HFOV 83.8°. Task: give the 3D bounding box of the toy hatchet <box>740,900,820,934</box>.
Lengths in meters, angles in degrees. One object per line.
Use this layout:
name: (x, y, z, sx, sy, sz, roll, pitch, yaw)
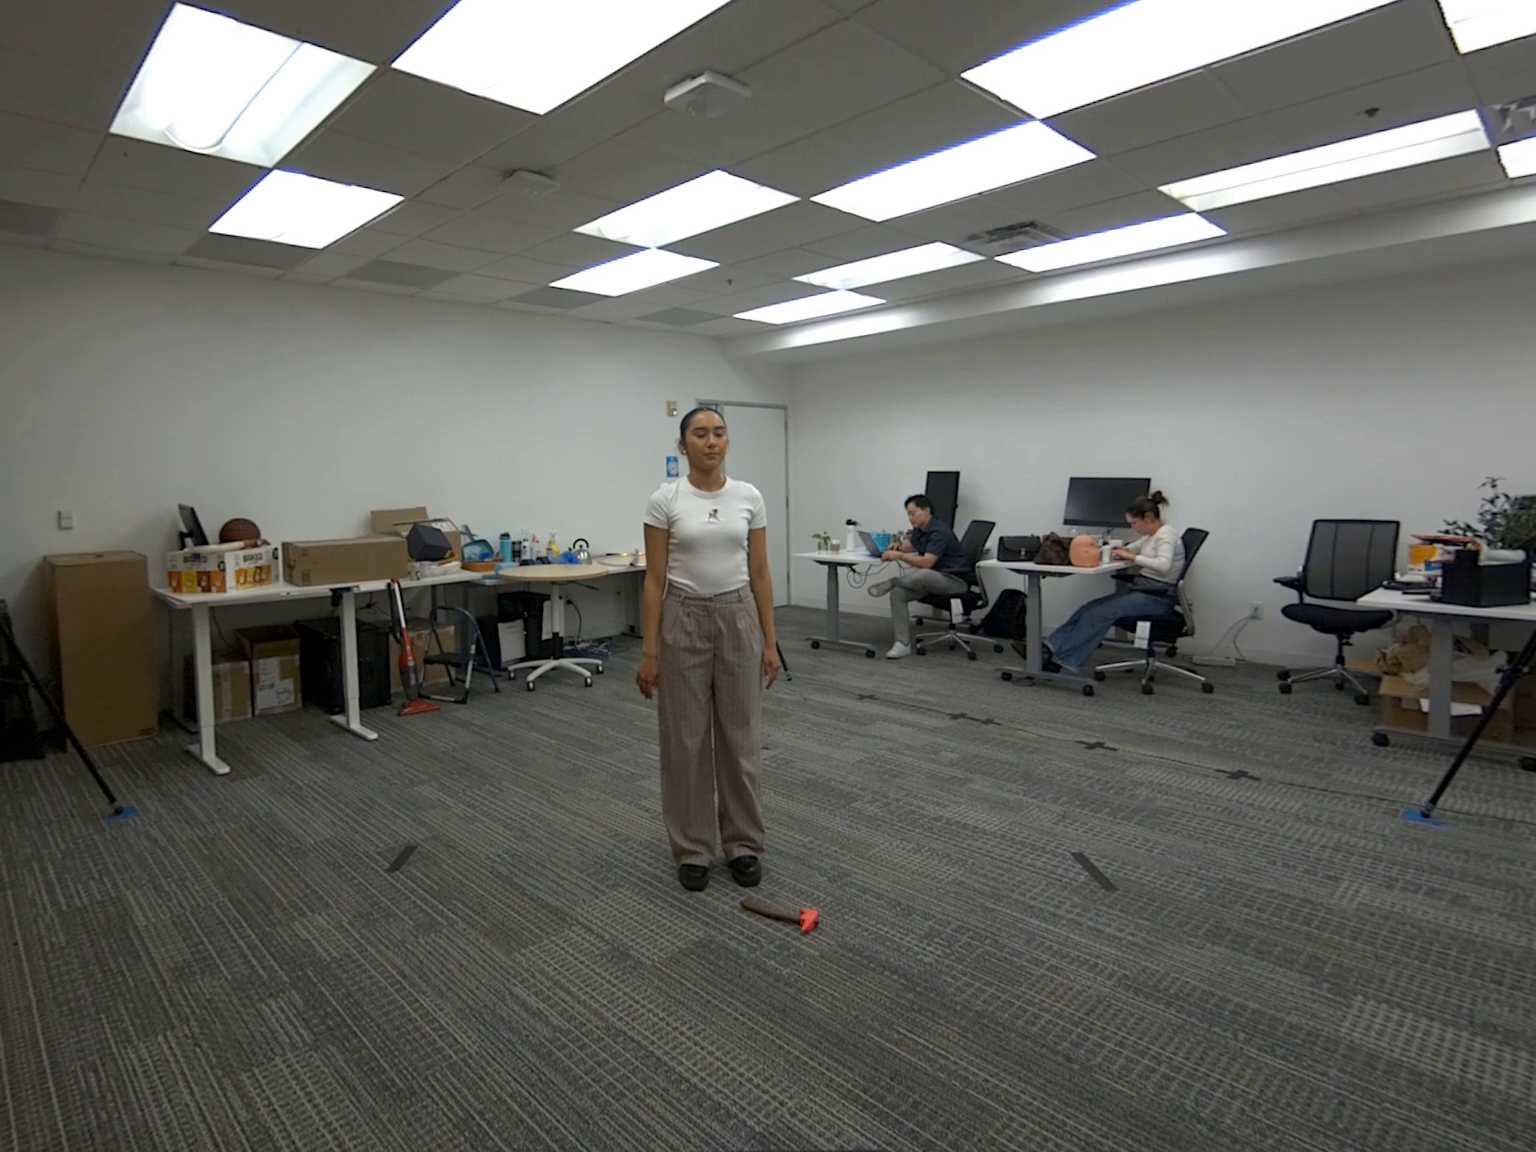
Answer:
toy hatchet: (0.058, 1.076, 2.737, 0.278, 0.029, 0.128, 3, 9, 40)
